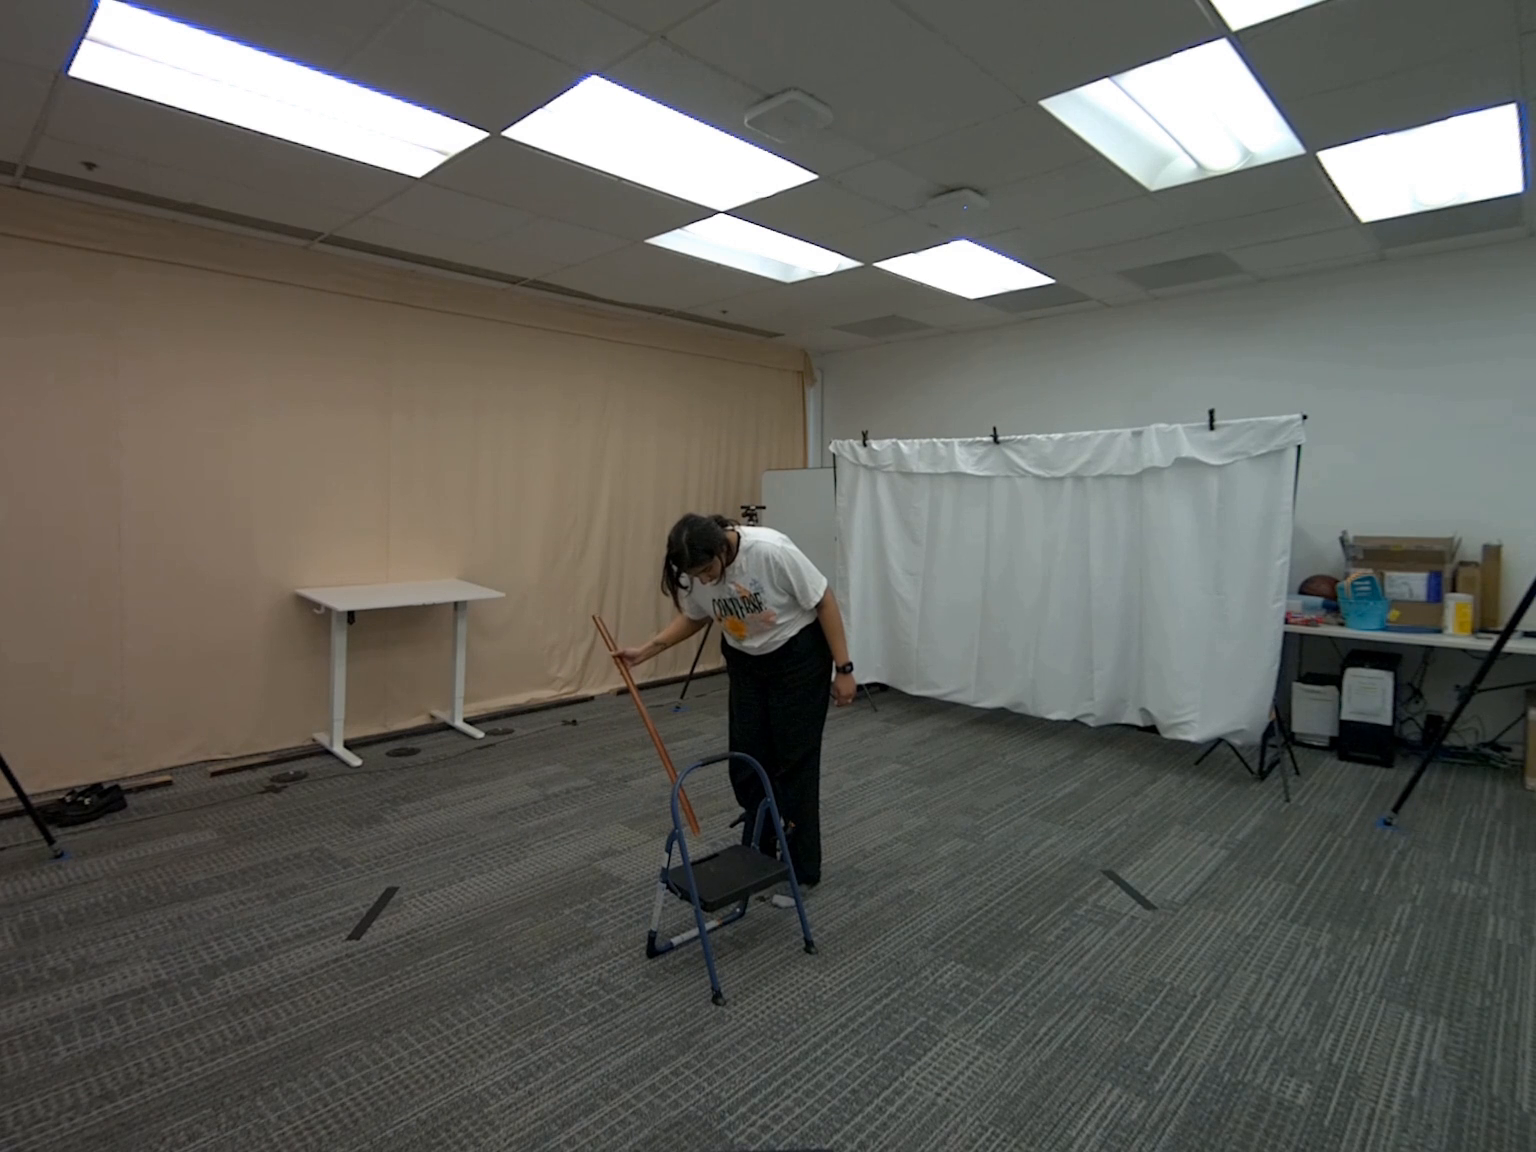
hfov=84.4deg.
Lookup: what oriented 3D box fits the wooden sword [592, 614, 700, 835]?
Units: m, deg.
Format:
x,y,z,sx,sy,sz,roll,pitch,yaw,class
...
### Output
x,y,z,sx,sy,sz,roll,pitch,yaw,class
-0.422,0.500,2.986,0.023,0.051,1.060,1,37,-37,wooden sword
